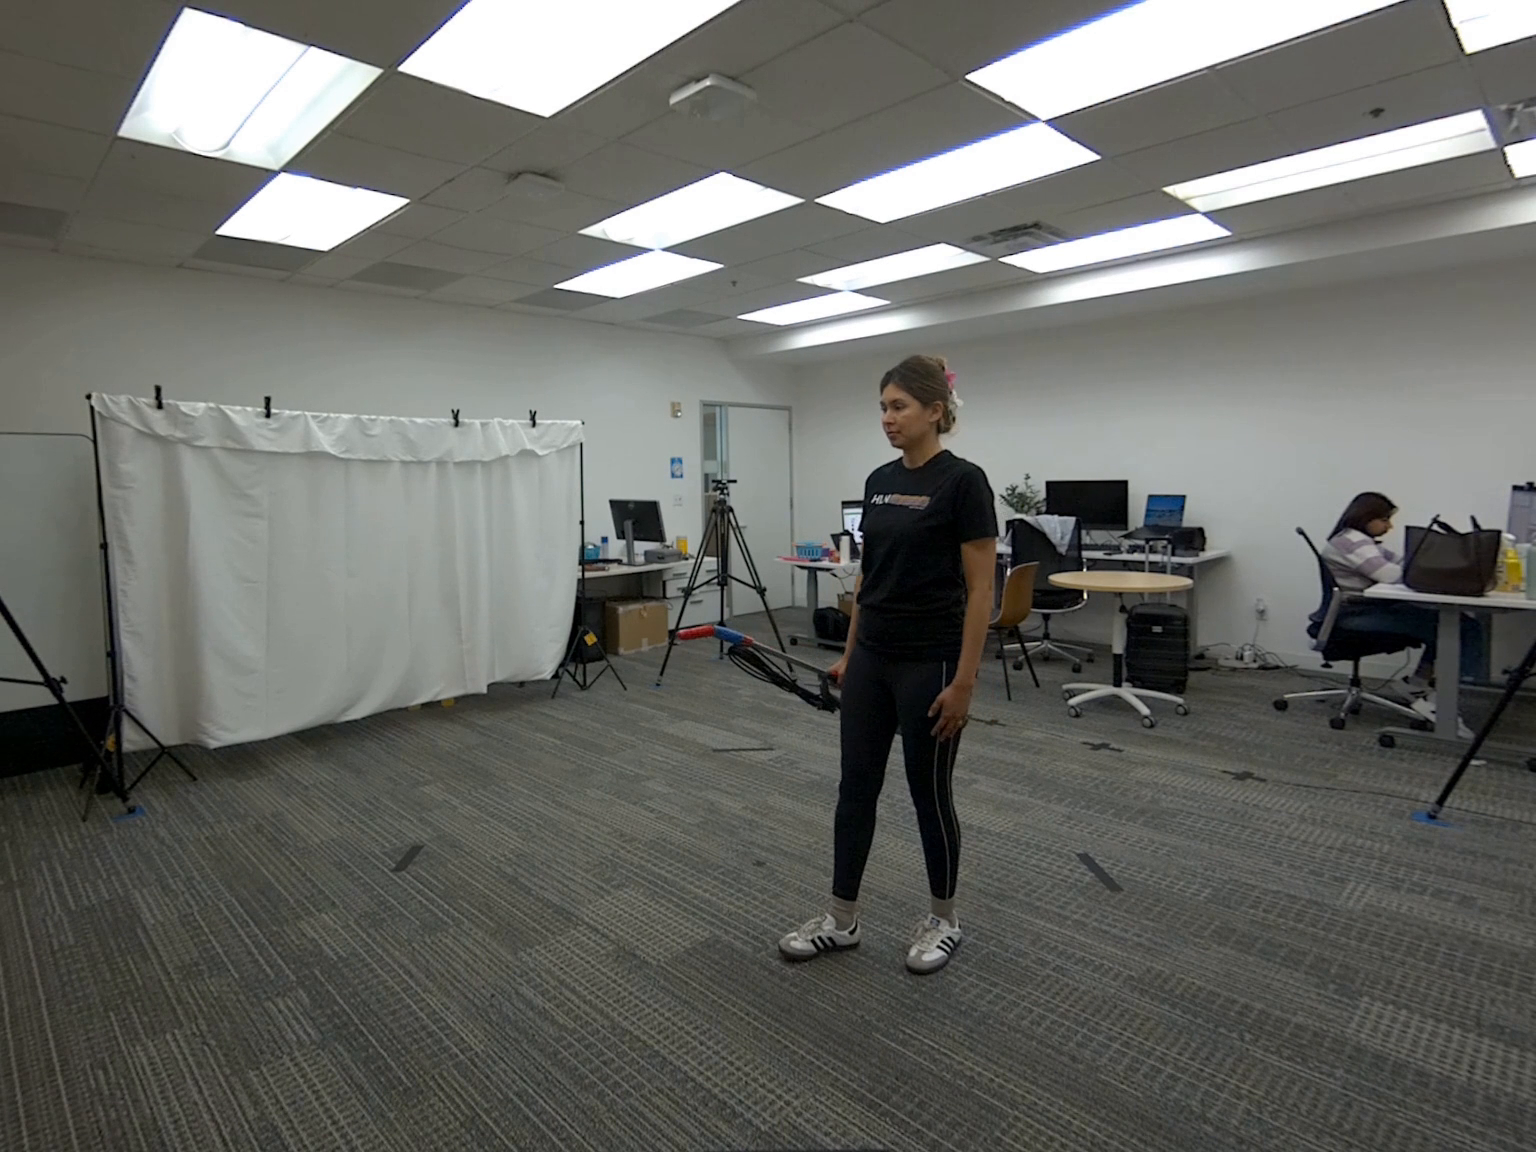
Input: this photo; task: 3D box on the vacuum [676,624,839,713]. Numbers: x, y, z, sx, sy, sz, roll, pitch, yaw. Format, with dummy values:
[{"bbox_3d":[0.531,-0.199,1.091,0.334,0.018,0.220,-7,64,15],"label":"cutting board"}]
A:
[{"bbox_3d":[0.156,0.340,2.632,1.017,0.144,0.260,24,-3,-29],"label":"vacuum"}]
